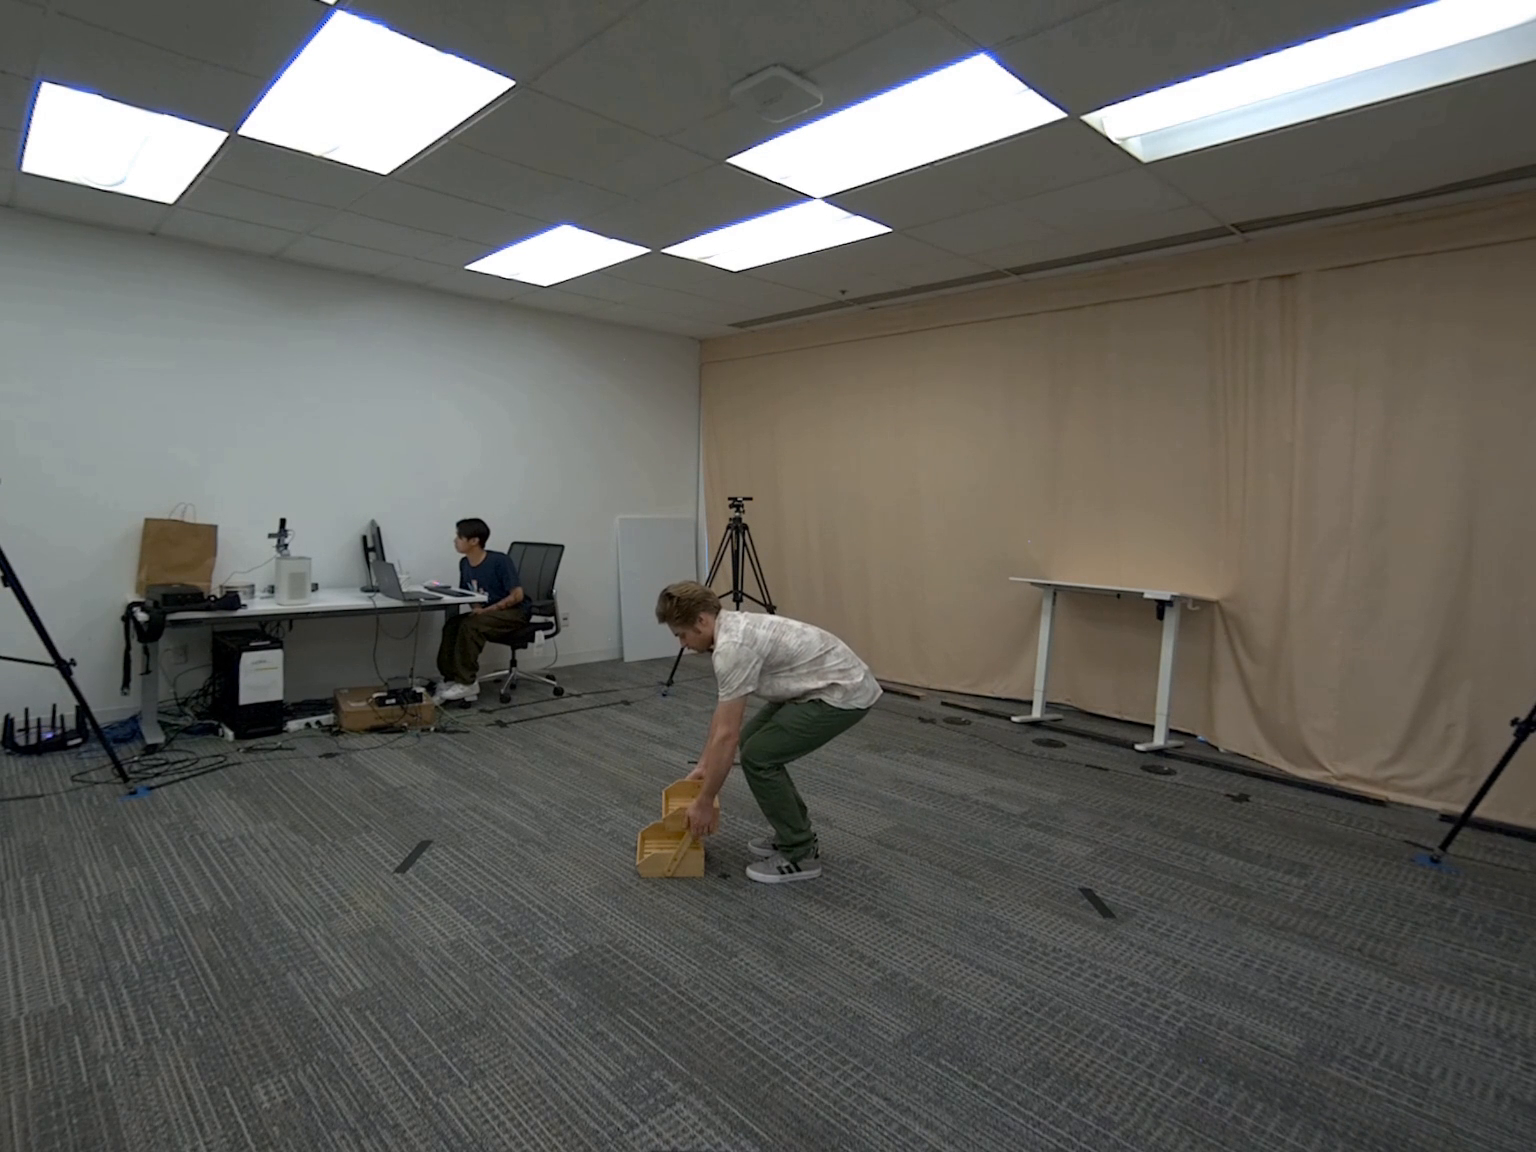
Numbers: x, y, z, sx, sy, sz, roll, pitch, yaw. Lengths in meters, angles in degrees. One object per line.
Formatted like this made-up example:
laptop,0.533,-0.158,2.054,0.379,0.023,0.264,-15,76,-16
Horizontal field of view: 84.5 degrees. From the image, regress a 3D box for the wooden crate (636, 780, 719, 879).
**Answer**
wooden crate,-0.357,0.957,3.228,0.301,0.272,0.327,1,5,-6
